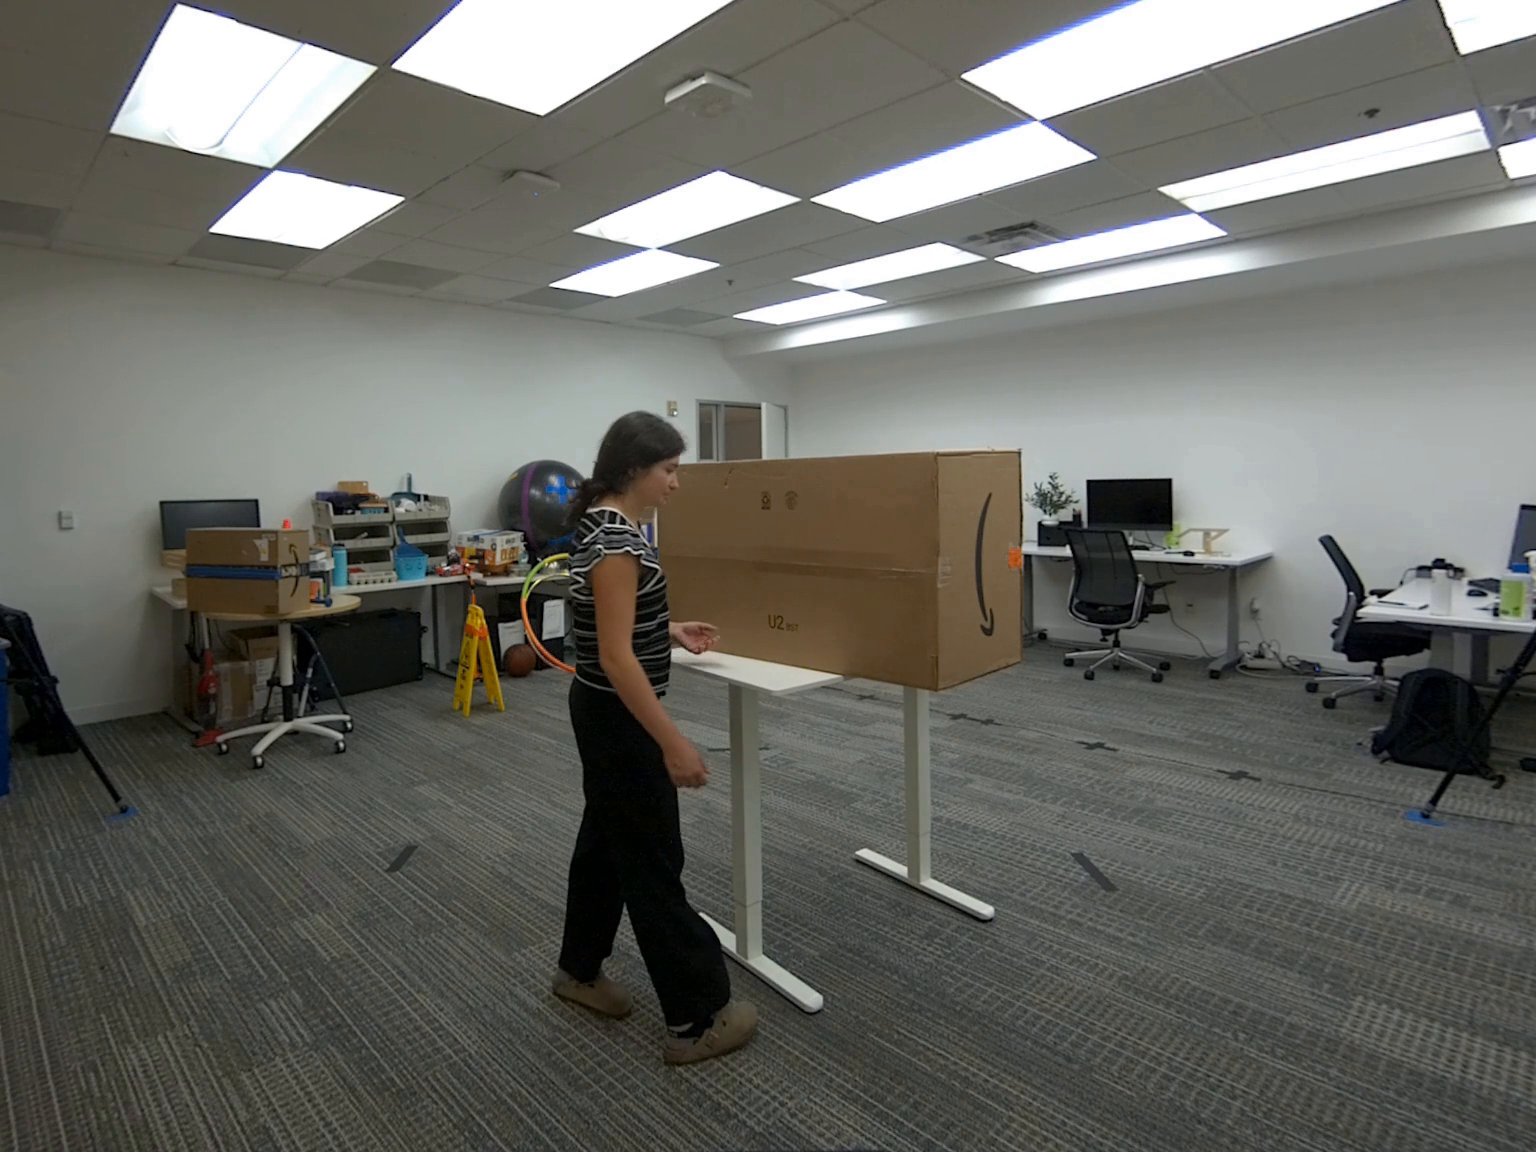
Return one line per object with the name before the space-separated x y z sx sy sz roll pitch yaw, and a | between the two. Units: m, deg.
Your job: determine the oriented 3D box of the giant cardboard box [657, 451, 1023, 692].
giant cardboard box | 0.171 -0.062 2.519 1.057 0.575 0.415 4 7 44
